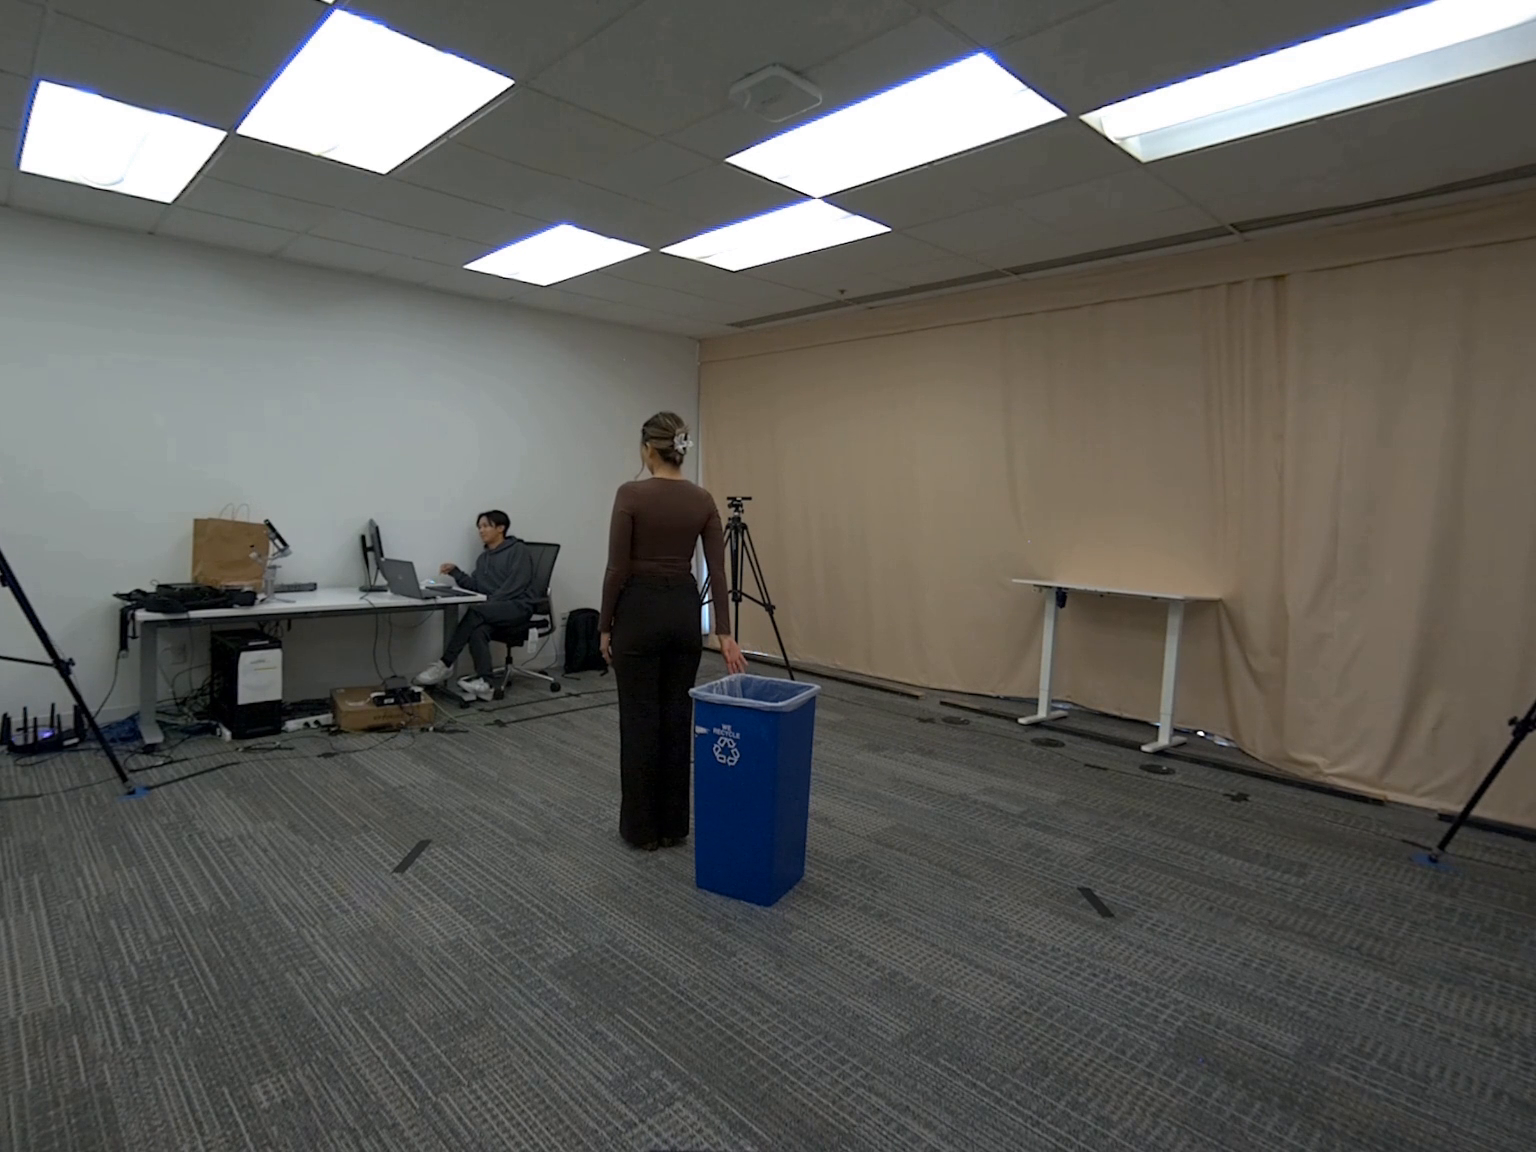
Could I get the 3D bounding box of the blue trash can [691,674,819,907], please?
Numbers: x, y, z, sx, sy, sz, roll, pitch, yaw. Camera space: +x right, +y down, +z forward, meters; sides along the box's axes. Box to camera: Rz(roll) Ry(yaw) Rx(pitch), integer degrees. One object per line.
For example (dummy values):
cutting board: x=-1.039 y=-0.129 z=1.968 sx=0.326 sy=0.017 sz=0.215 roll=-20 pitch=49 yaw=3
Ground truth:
blue trash can: x=-0.061 y=0.754 z=3.048 sx=0.386 sy=0.711 sz=0.367 roll=3 pitch=5 yaw=27
